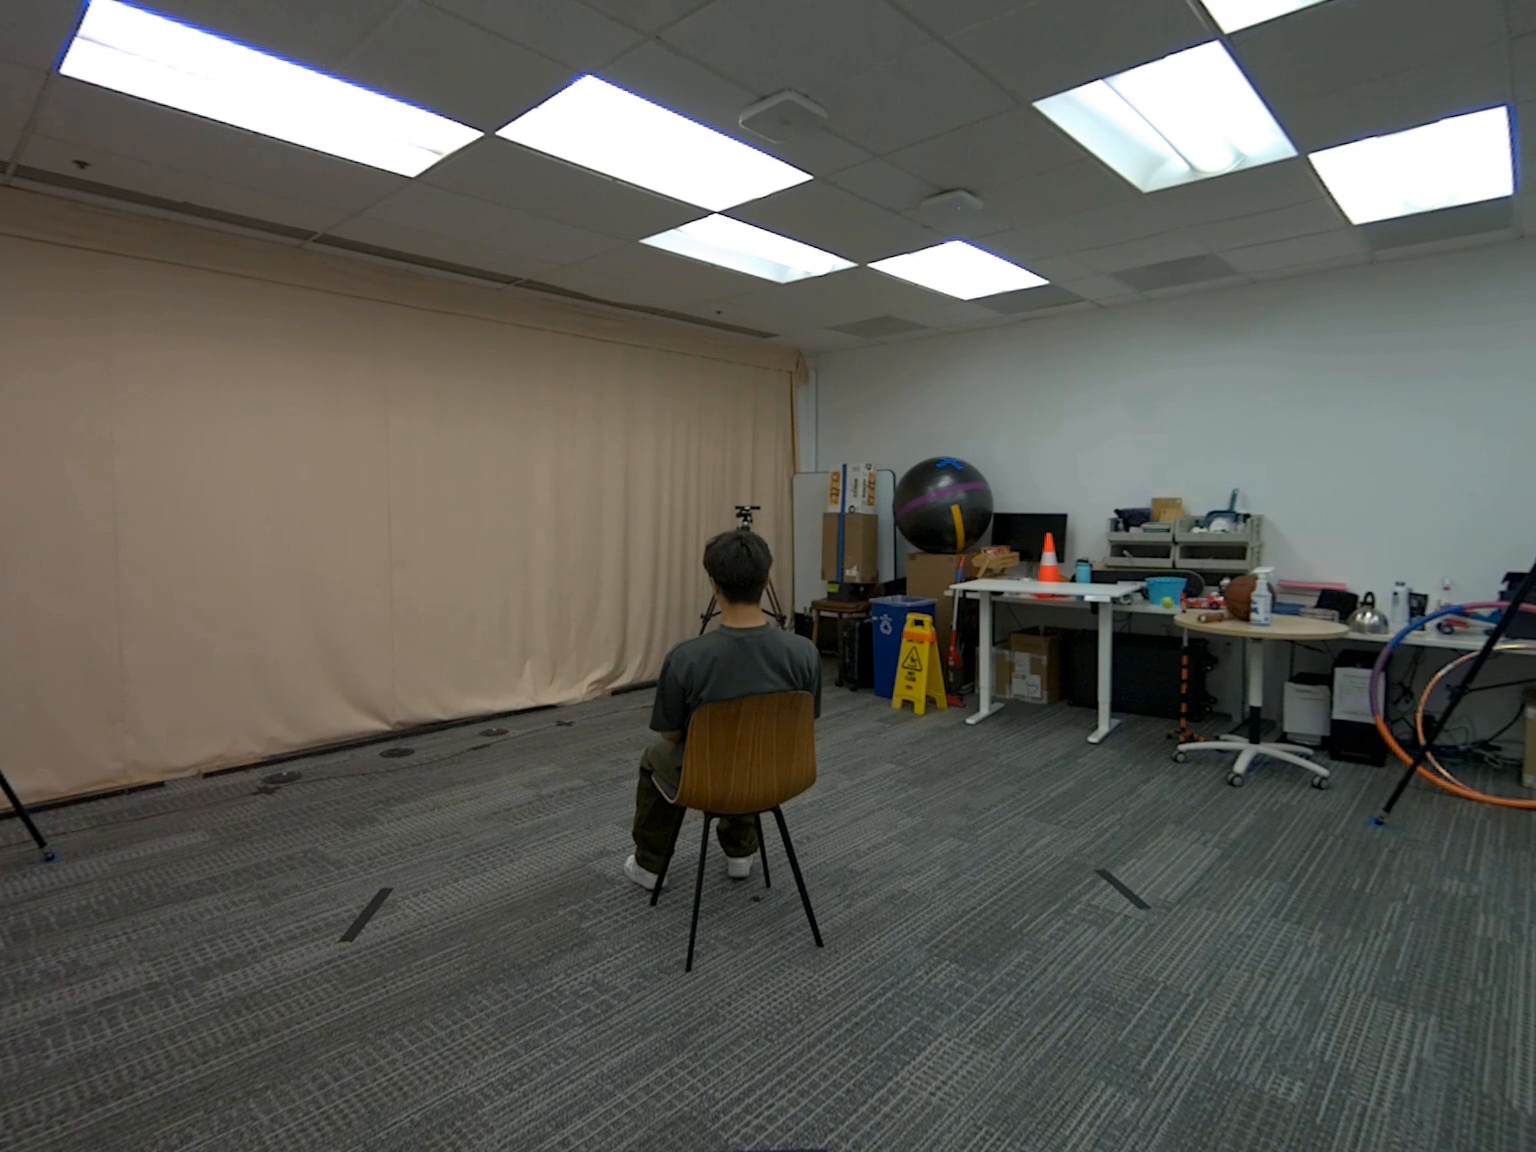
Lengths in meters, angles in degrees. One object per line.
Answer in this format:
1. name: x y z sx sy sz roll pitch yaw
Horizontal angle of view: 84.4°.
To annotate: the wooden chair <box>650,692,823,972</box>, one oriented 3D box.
1. wooden chair: -0.118 0.729 2.773 0.469 0.873 0.536 -2 8 -20
